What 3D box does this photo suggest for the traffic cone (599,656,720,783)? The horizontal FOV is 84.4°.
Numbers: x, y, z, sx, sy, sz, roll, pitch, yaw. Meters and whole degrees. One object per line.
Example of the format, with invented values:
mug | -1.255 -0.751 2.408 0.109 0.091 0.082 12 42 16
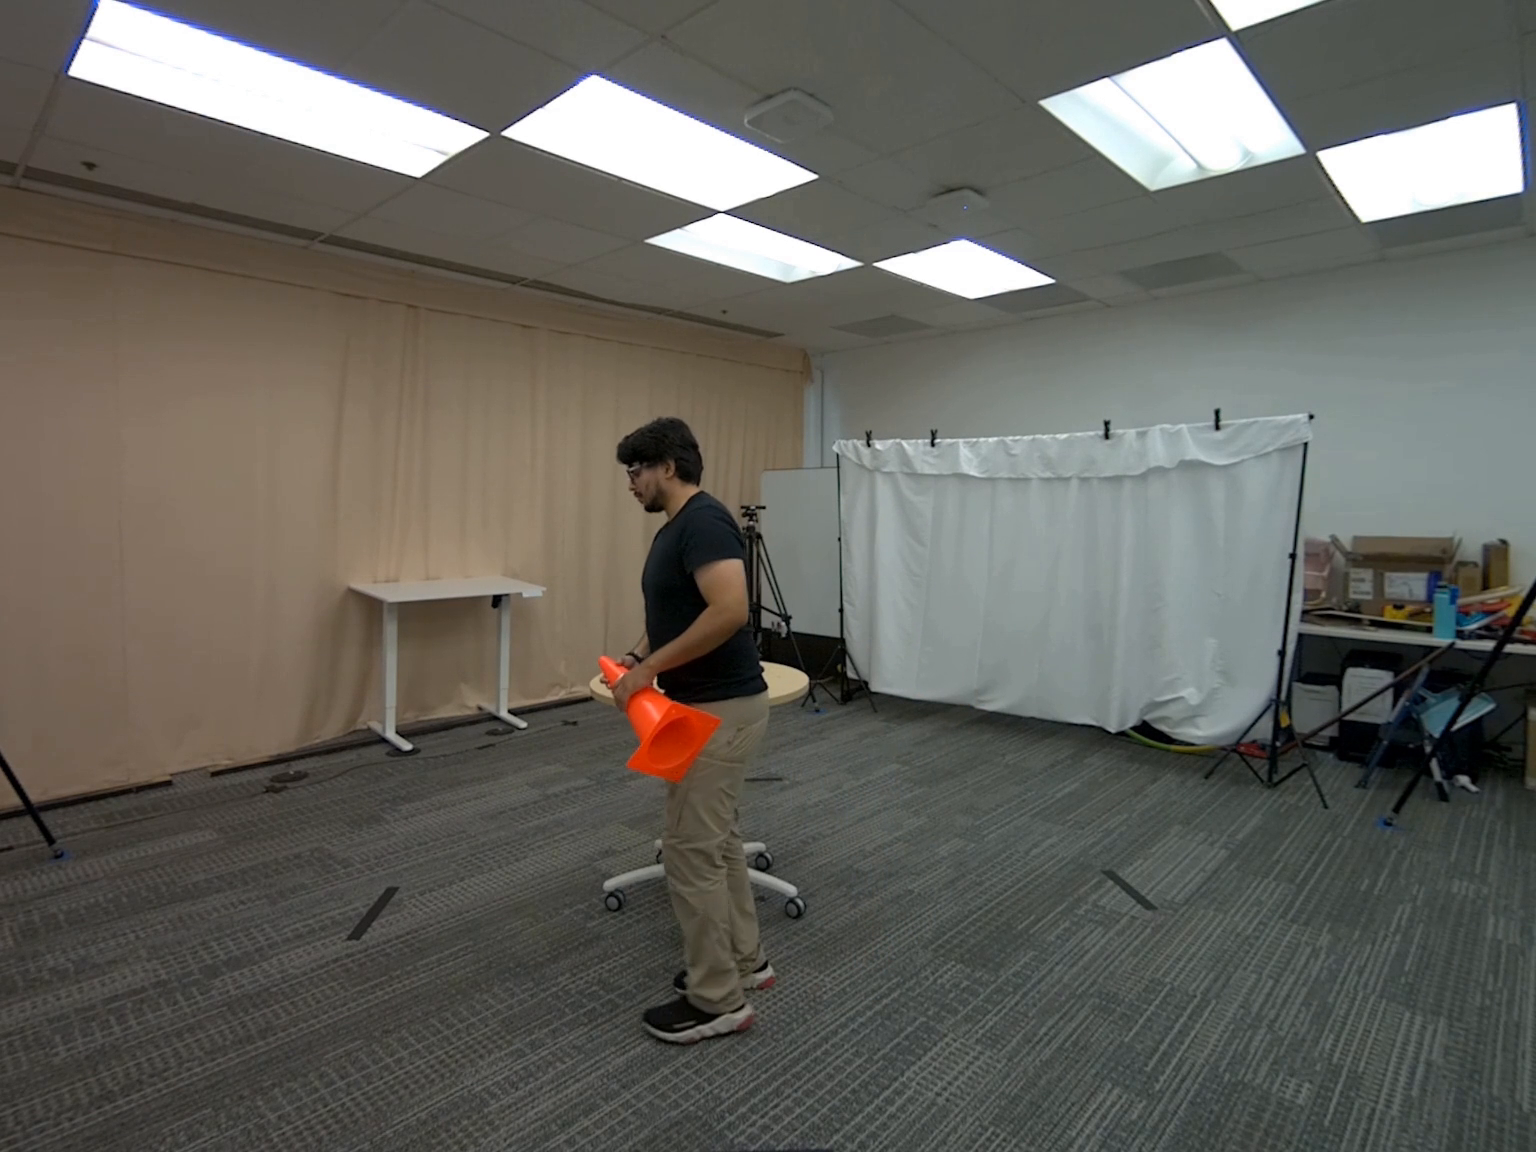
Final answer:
traffic cone | -0.346 0.327 2.200 0.196 0.205 0.398 25 8 -45
